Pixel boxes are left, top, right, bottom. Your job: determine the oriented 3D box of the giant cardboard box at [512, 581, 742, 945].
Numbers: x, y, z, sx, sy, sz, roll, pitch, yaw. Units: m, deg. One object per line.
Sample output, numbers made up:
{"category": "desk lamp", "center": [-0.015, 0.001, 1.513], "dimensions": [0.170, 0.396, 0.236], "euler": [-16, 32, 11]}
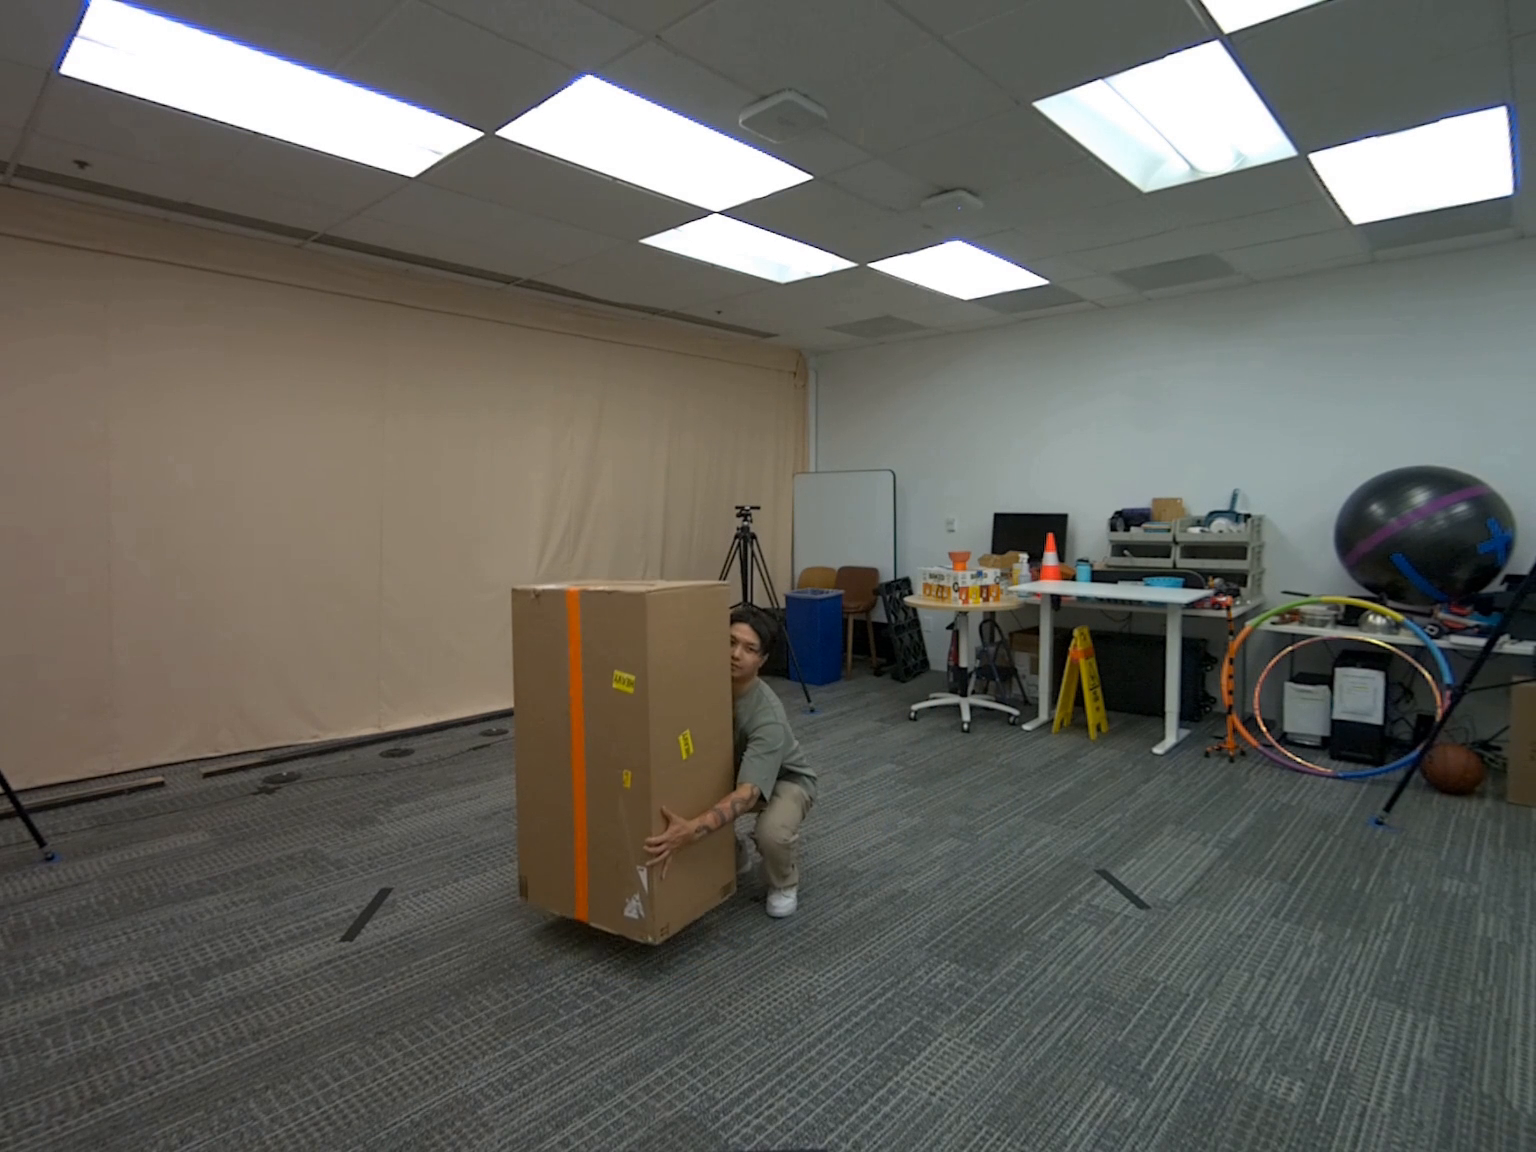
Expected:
{"category": "giant cardboard box", "center": [-0.470, 0.527, 2.730], "dimensions": [0.595, 1.025, 0.414], "euler": [0, 1, 34]}
